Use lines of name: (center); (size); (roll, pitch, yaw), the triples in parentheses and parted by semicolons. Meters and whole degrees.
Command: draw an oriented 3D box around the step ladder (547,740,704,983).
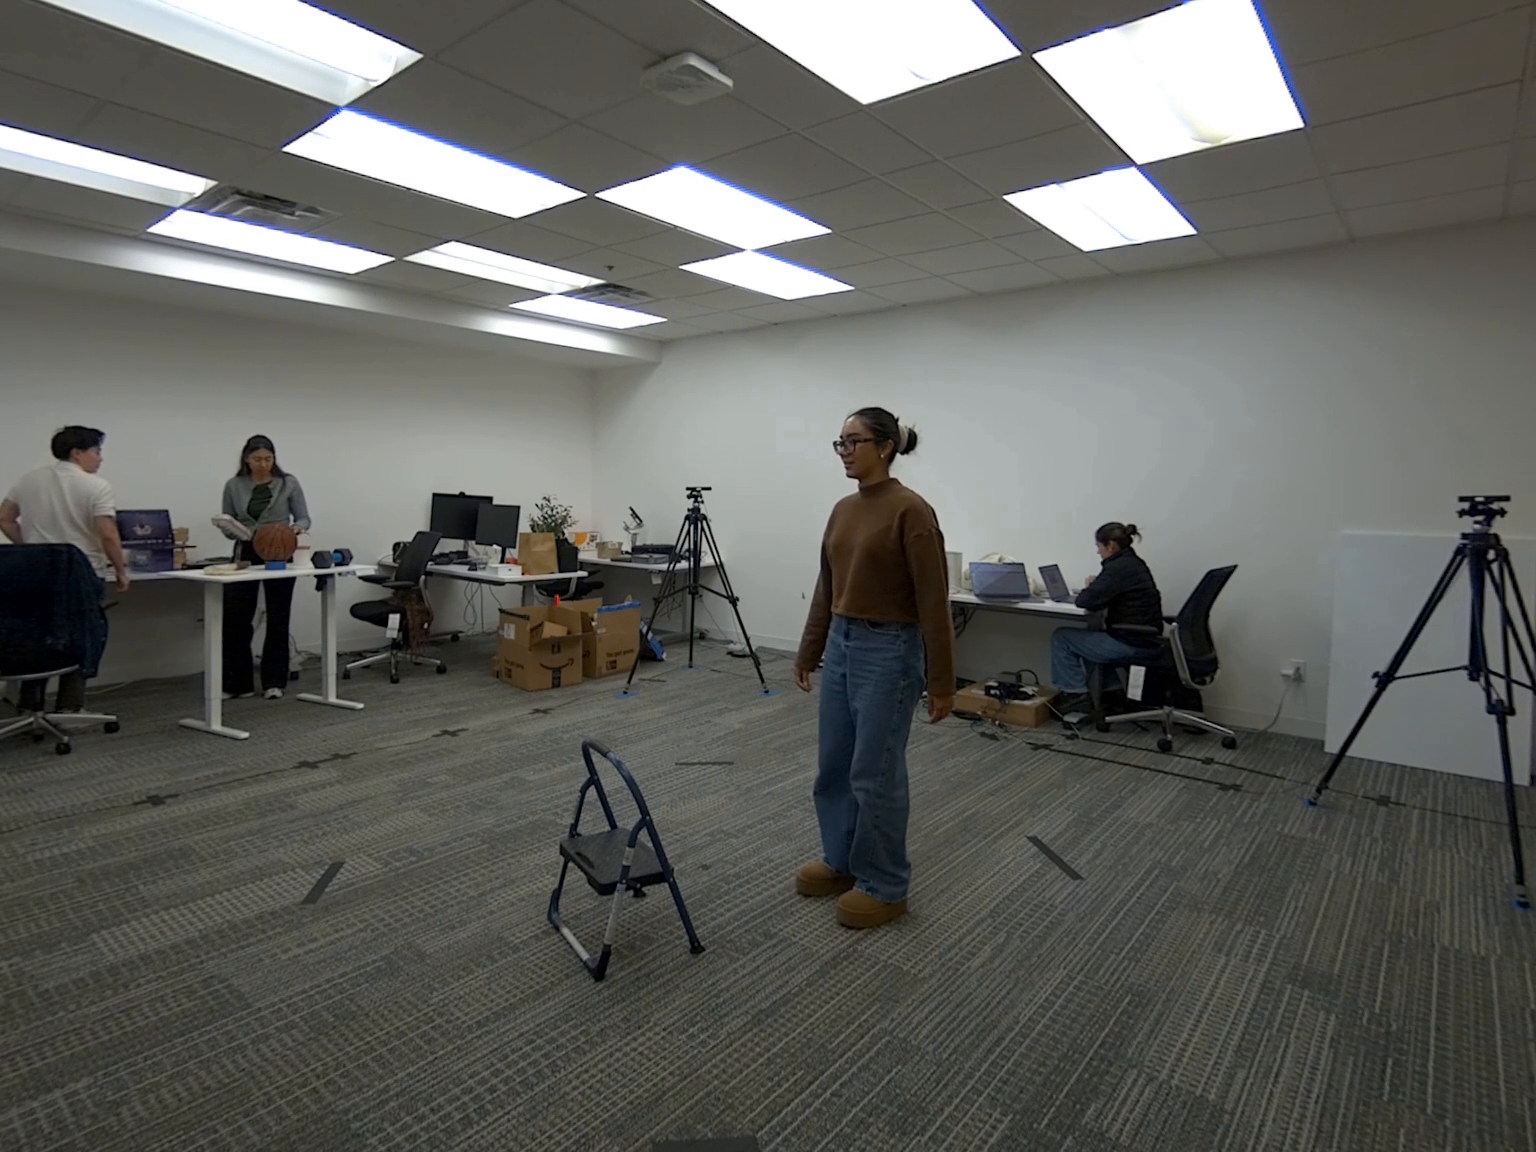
step ladder: (-0.459, 0.808, 2.624); (0.339, 0.604, 0.444); (-1, 4, -34)
